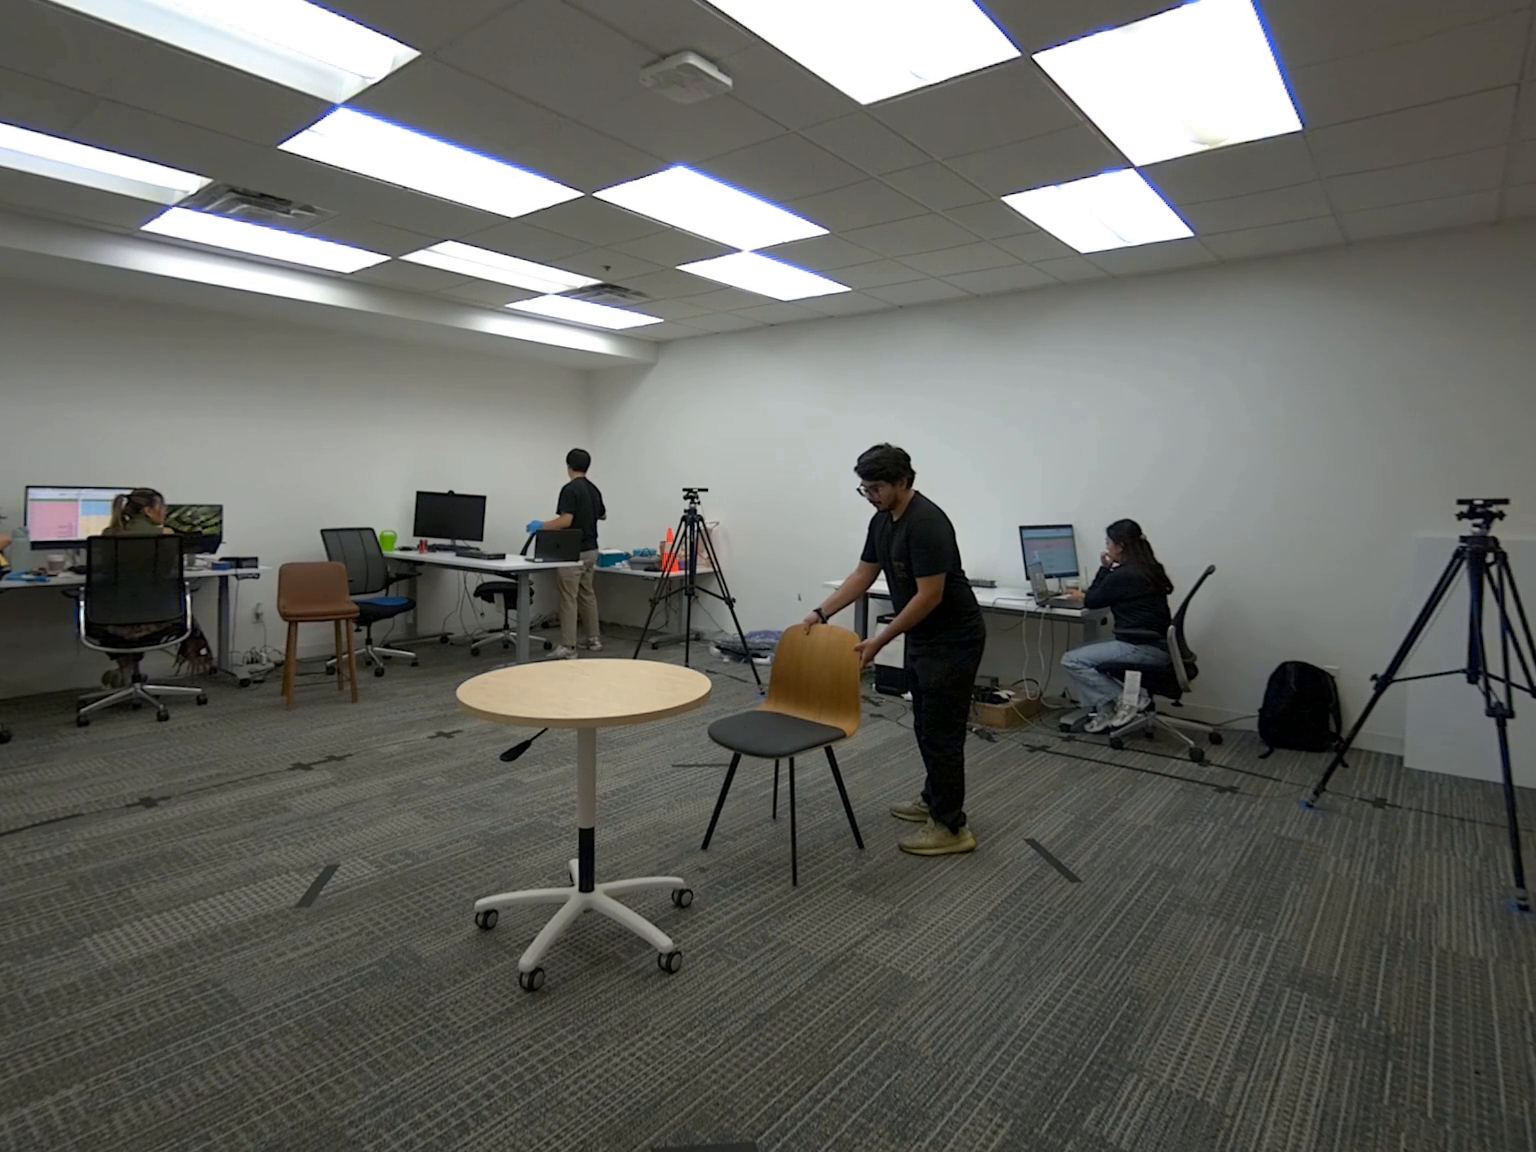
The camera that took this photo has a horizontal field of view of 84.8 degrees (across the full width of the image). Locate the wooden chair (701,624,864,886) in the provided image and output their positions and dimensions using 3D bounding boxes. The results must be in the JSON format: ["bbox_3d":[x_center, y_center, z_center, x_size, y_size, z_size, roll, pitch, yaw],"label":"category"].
[{"bbox_3d":[0.054,0.632,3.272,0.494,0.878,0.506,4,-1,40],"label":"wooden chair"}]
